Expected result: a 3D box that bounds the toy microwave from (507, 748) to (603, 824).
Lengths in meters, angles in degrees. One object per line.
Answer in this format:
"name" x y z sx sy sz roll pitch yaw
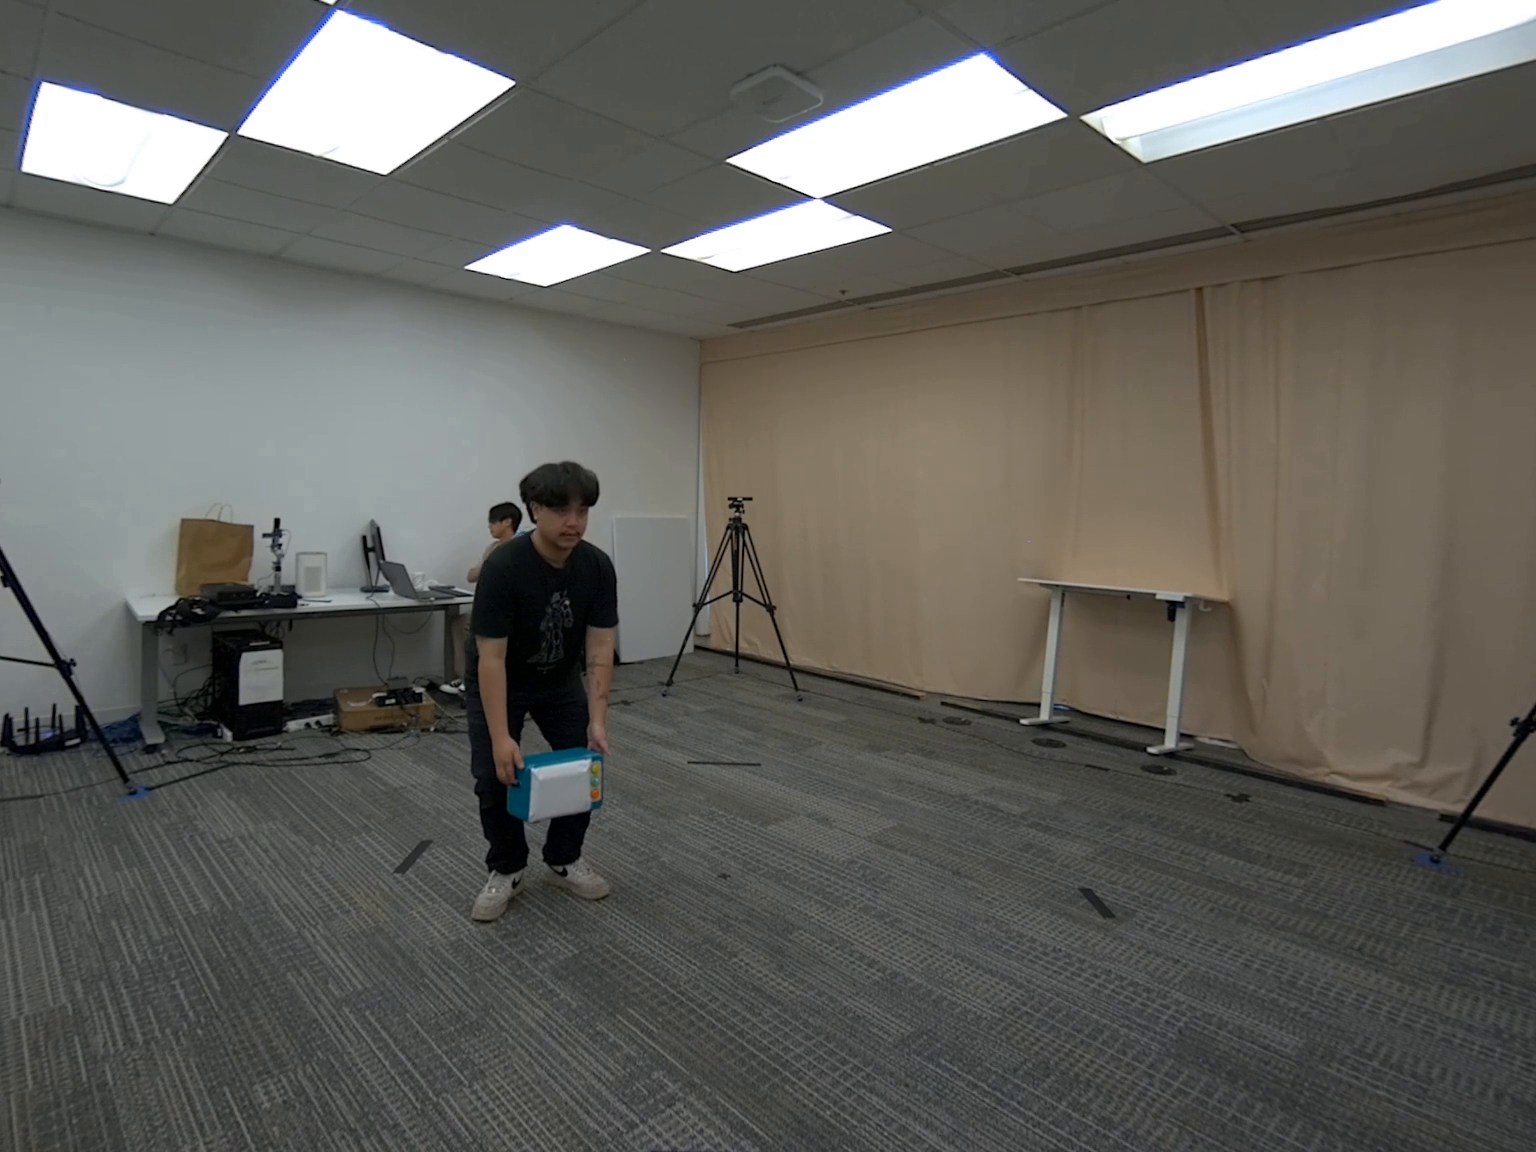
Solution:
"toy microwave" -0.683 0.665 2.648 0.279 0.184 0.156 1 -1 -43
